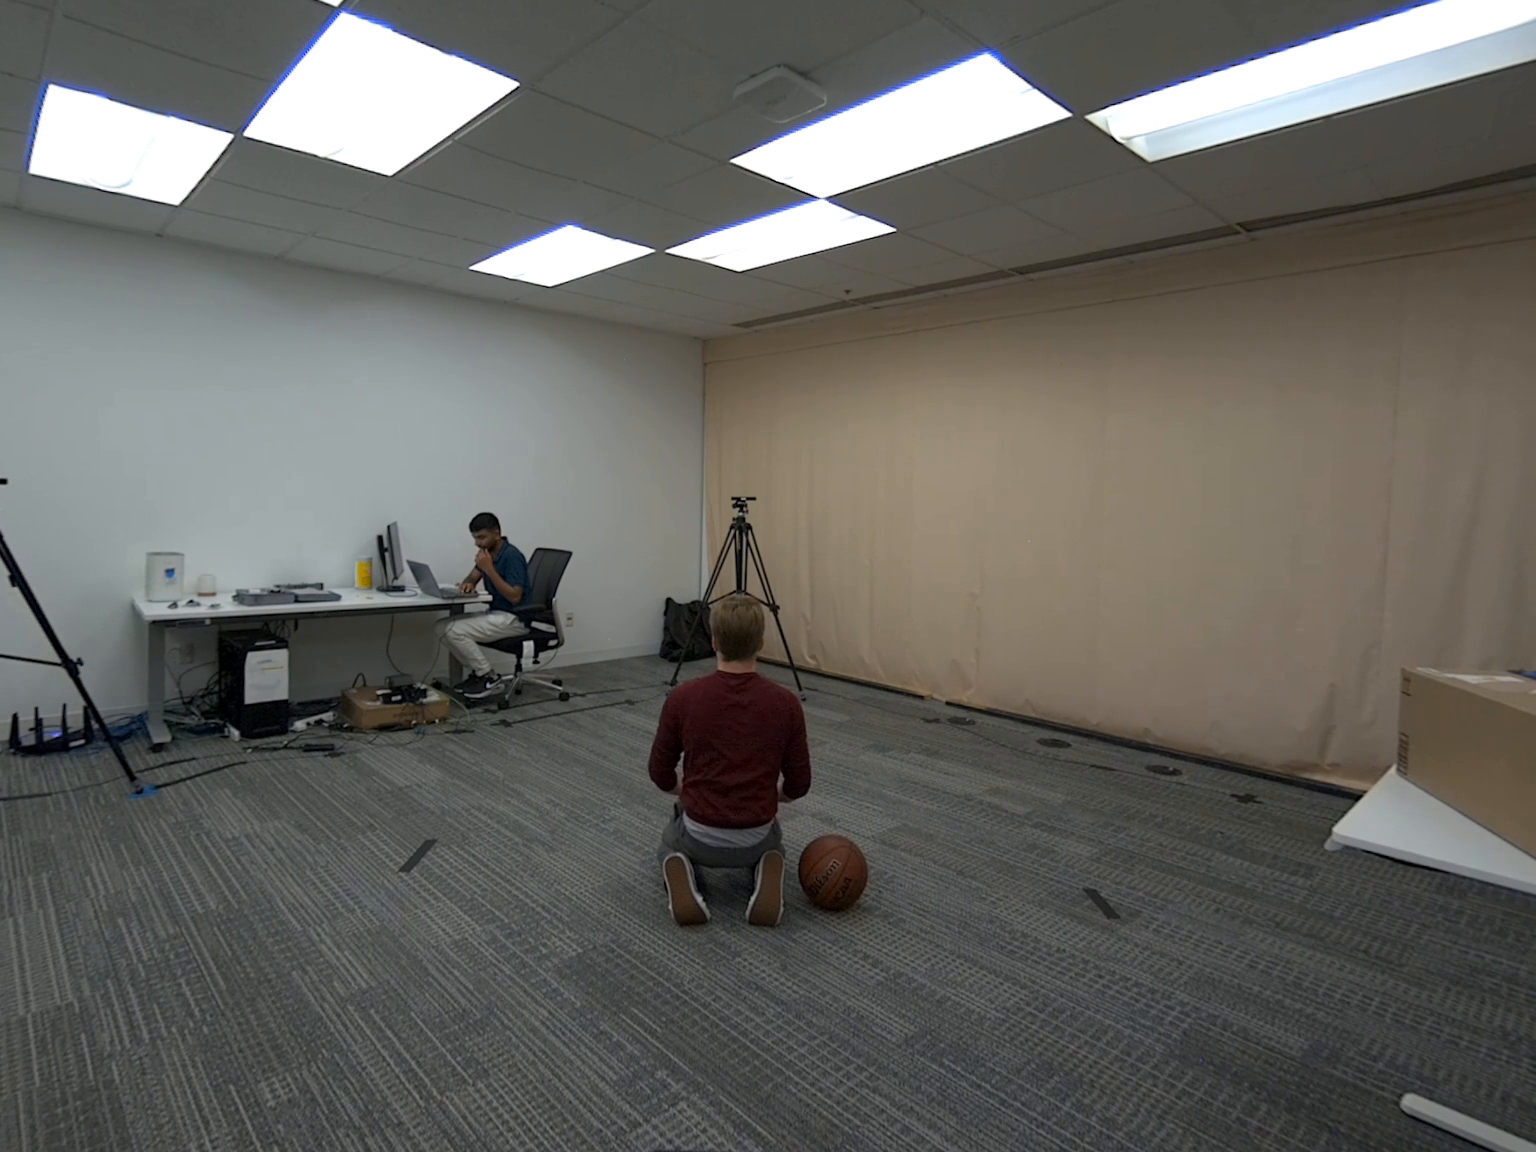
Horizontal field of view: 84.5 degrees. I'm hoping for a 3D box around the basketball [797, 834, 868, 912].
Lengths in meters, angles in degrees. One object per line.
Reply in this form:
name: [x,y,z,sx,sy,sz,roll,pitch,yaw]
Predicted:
basketball: [0.217,1.012,2.883,0.236,0.235,0.237,1,4,-1]
